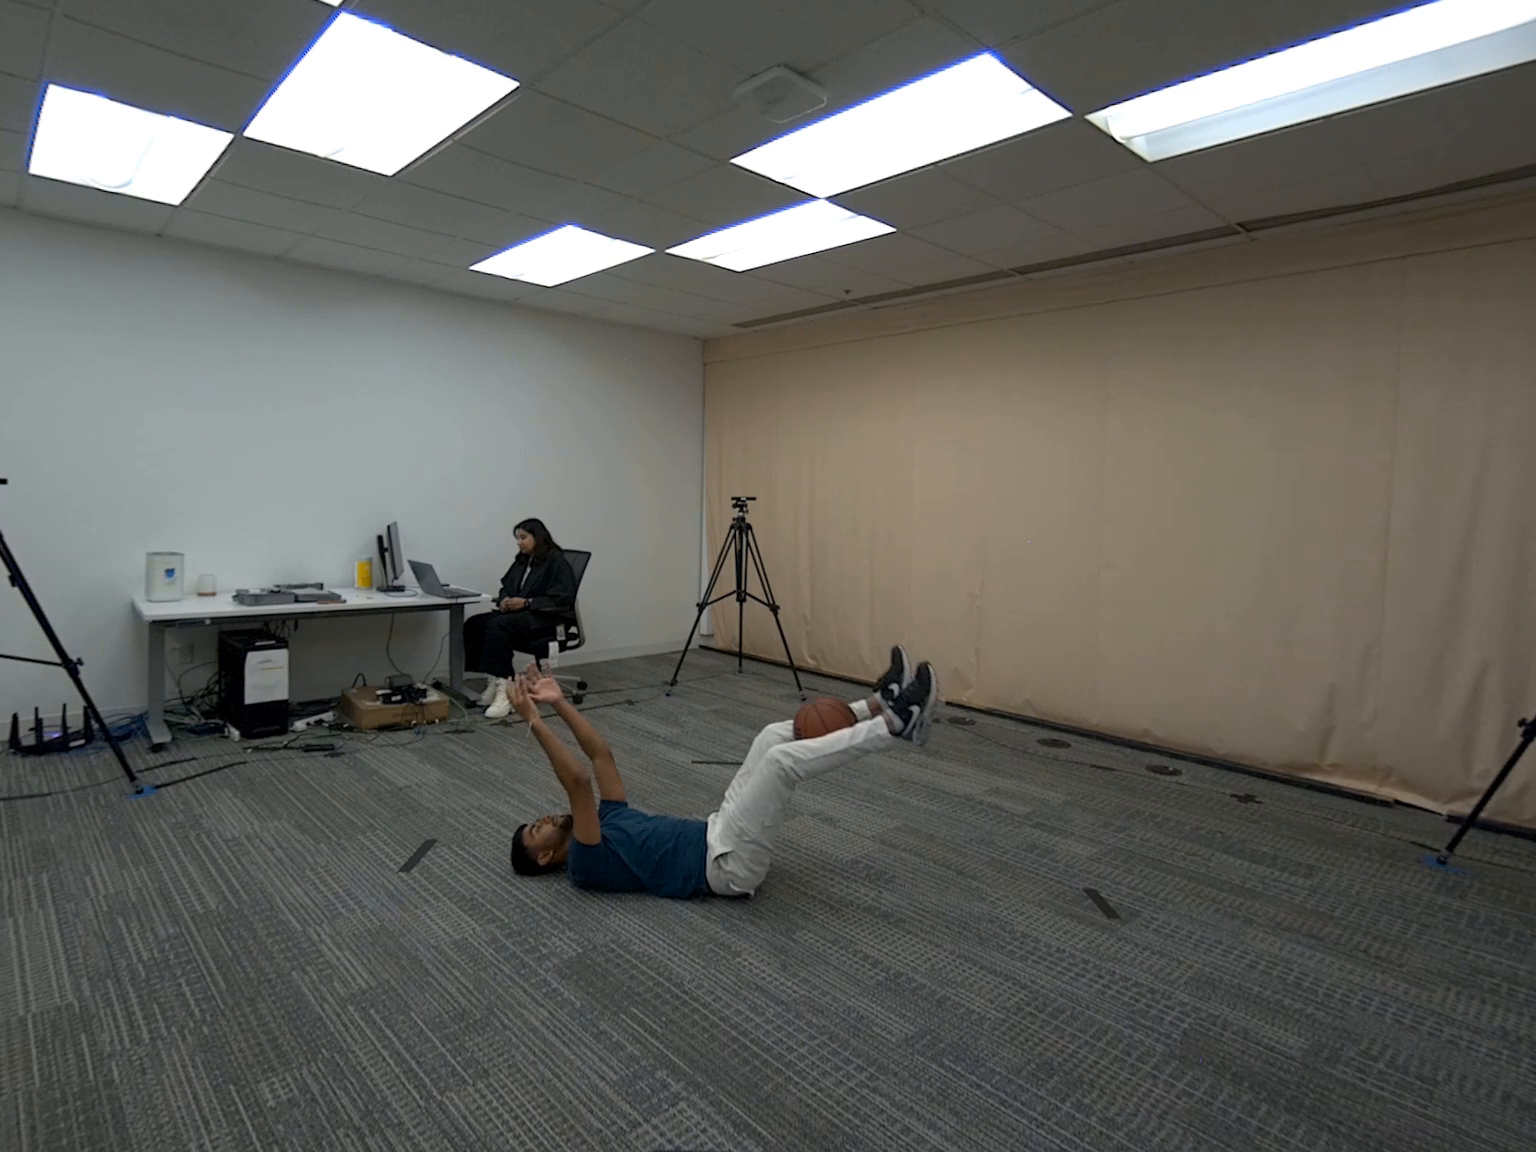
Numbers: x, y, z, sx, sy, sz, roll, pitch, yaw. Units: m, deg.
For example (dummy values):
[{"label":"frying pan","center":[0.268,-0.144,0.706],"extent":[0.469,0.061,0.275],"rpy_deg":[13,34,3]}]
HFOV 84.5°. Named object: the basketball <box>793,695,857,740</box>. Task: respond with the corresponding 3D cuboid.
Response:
[{"label":"basketball","center":[0.199,0.555,3.022],"extent":[0.236,0.235,0.237],"rpy_deg":[1,4,-1]}]
